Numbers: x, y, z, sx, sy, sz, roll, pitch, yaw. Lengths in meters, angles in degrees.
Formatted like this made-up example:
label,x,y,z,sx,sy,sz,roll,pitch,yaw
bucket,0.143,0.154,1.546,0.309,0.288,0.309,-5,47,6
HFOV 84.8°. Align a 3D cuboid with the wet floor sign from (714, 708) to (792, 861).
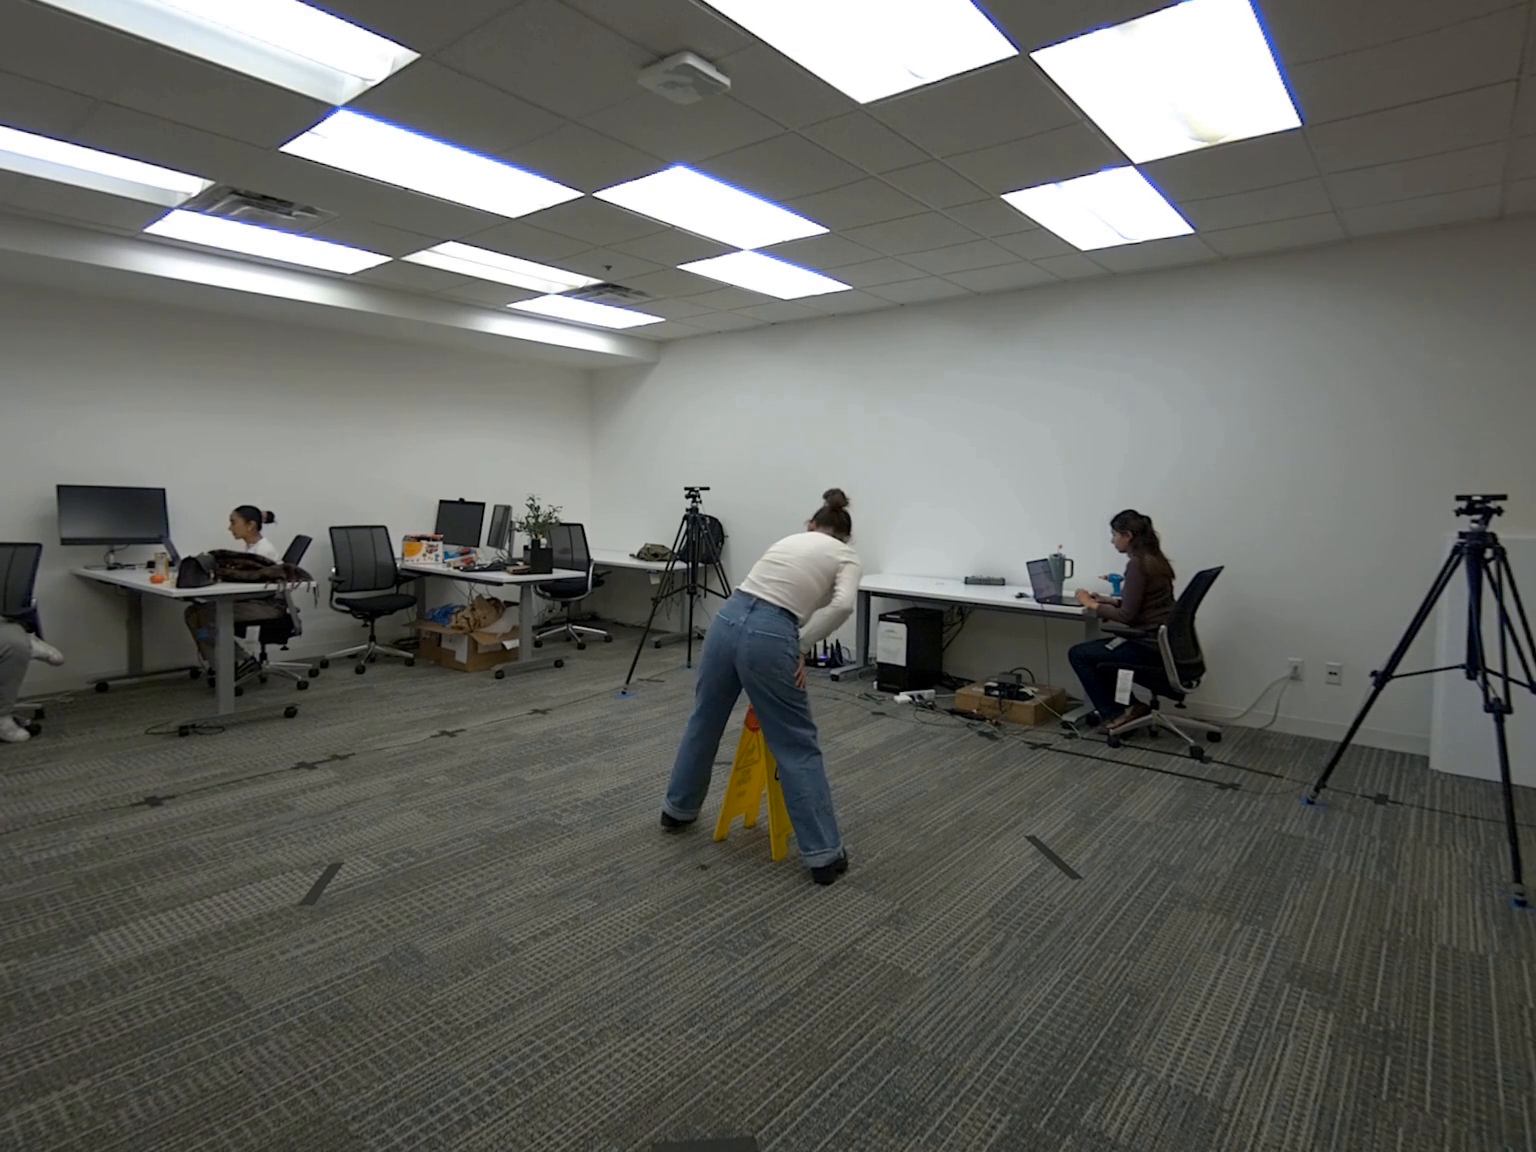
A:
label,x,y,z,sx,sy,sz,roll,pitch,yaw
wet floor sign,-0.005,0.727,3.348,0.299,0.644,0.274,5,4,35
